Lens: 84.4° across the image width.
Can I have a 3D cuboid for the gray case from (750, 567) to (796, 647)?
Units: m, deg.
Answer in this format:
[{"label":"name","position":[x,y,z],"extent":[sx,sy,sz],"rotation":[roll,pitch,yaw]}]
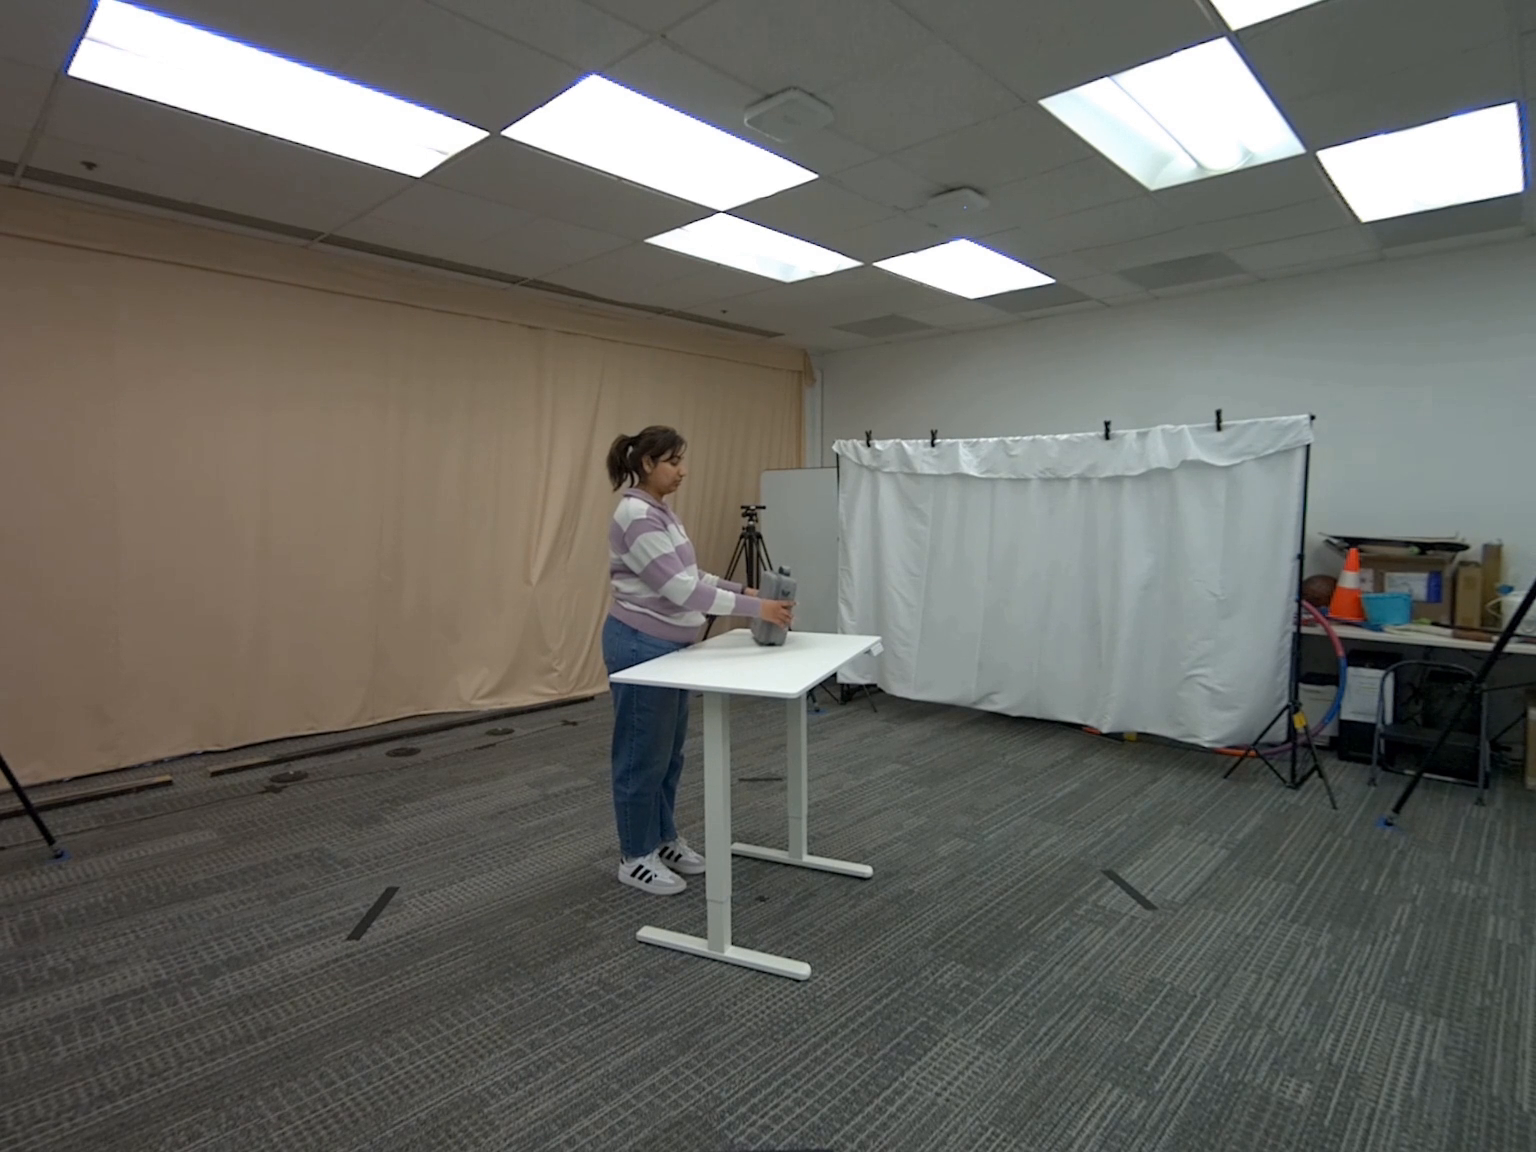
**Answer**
[{"label":"gray case","position":[0.024,0.117,3.135],"extent":[0.103,0.260,0.259],"rotation":[11,4,-8]}]
